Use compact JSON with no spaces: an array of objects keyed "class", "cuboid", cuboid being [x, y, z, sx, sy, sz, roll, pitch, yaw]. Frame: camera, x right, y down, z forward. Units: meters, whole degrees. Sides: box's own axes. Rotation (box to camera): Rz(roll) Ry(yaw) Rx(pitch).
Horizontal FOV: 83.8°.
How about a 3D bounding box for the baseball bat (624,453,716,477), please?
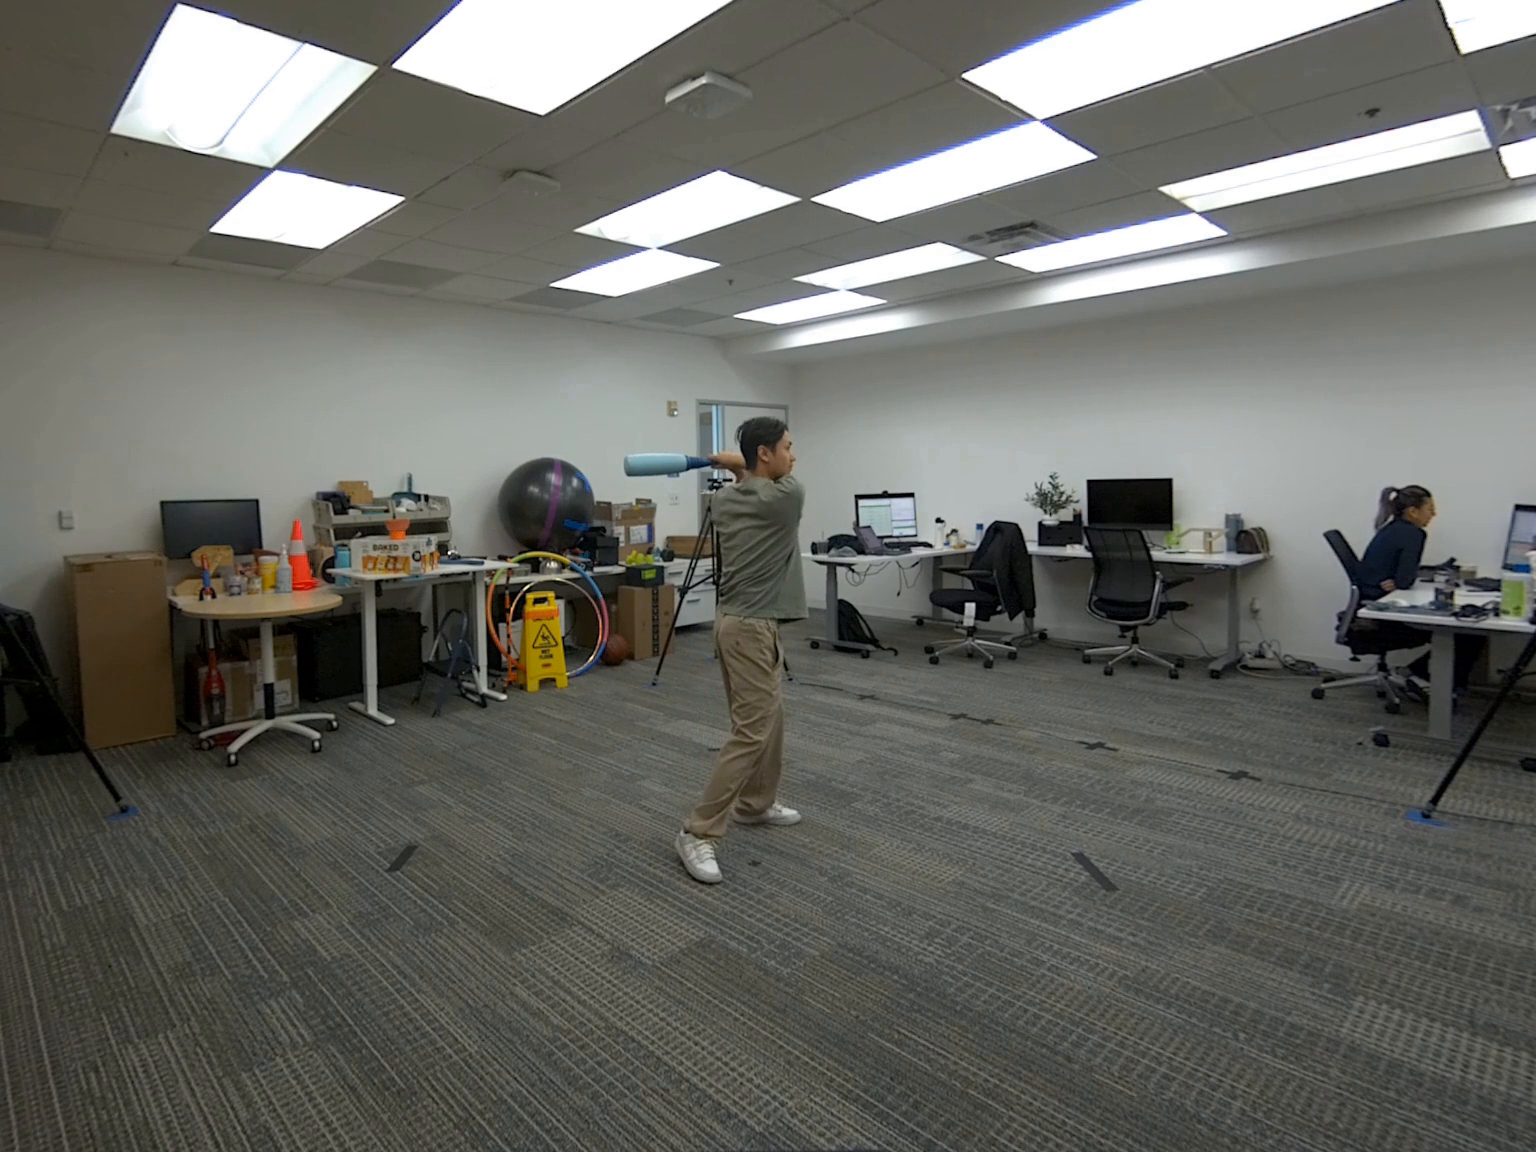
[{"class":"baseball bat","cuboid":[-0.315,-0.467,3.524,0.535,0.089,0.091,-4,6,-16]}]
